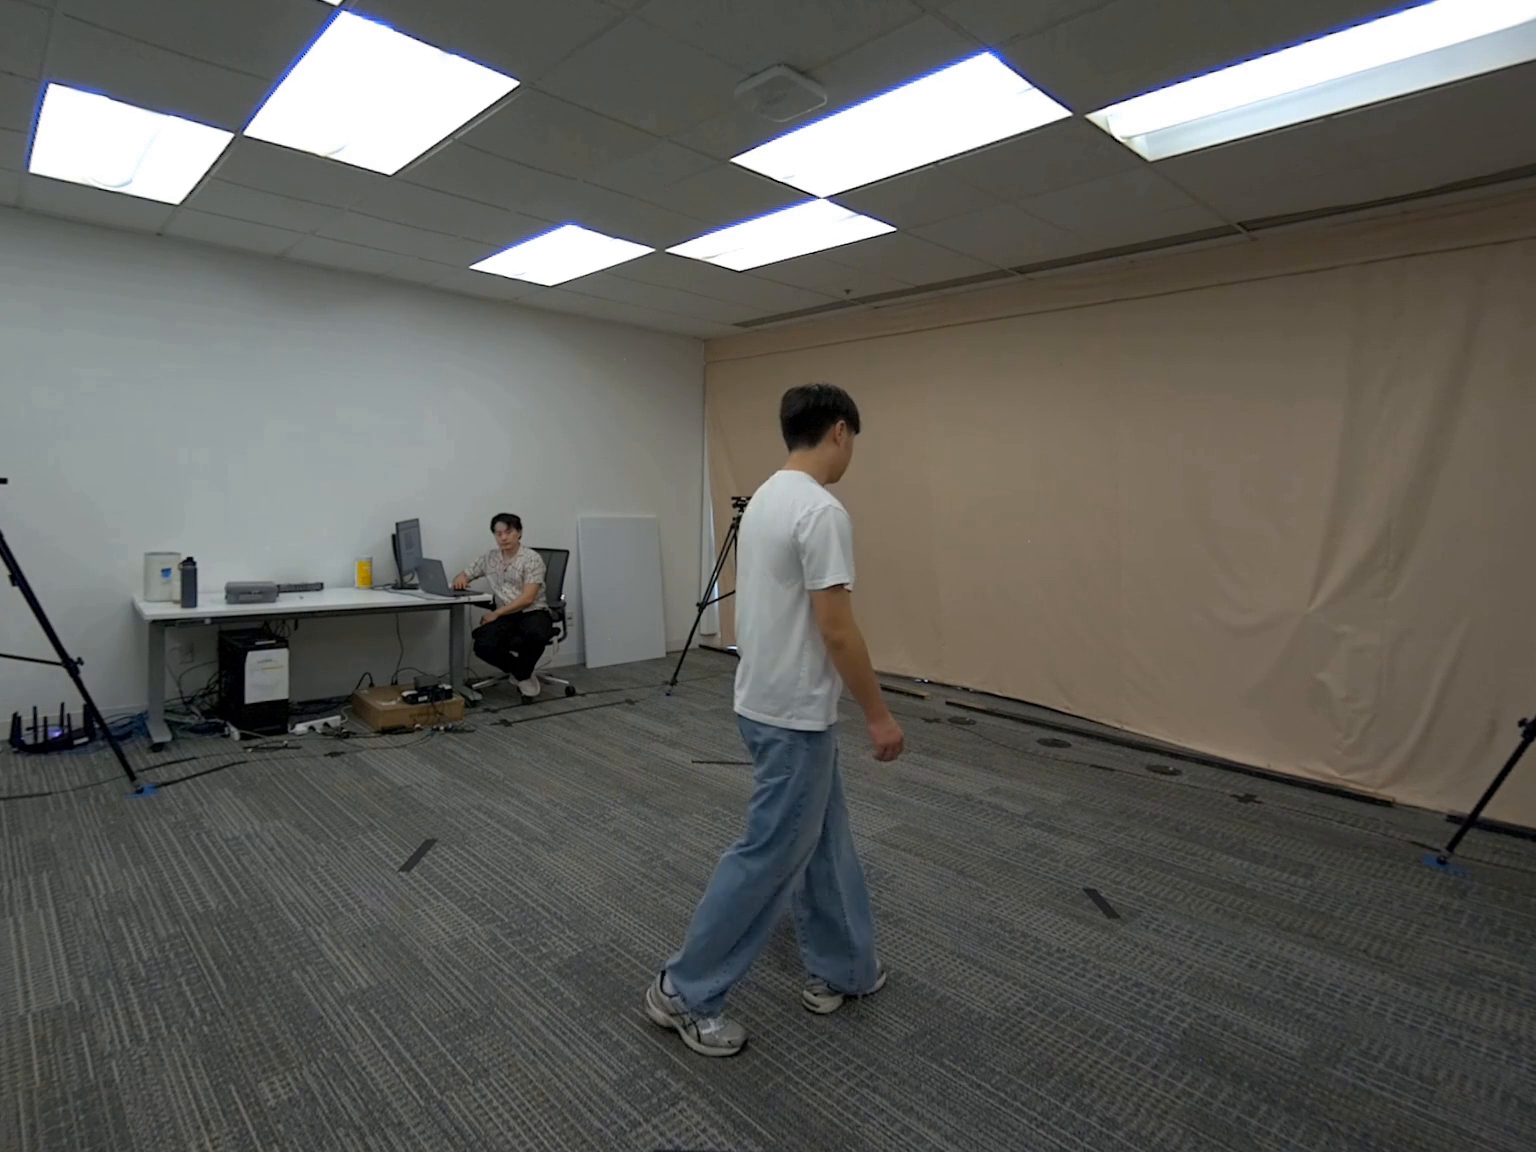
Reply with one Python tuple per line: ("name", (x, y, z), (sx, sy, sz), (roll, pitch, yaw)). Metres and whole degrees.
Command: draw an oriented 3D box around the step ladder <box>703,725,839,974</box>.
("step ladder", (0.018, 0.847, 2.725), (0.353, 0.604, 0.427), (2, 4, 12))
